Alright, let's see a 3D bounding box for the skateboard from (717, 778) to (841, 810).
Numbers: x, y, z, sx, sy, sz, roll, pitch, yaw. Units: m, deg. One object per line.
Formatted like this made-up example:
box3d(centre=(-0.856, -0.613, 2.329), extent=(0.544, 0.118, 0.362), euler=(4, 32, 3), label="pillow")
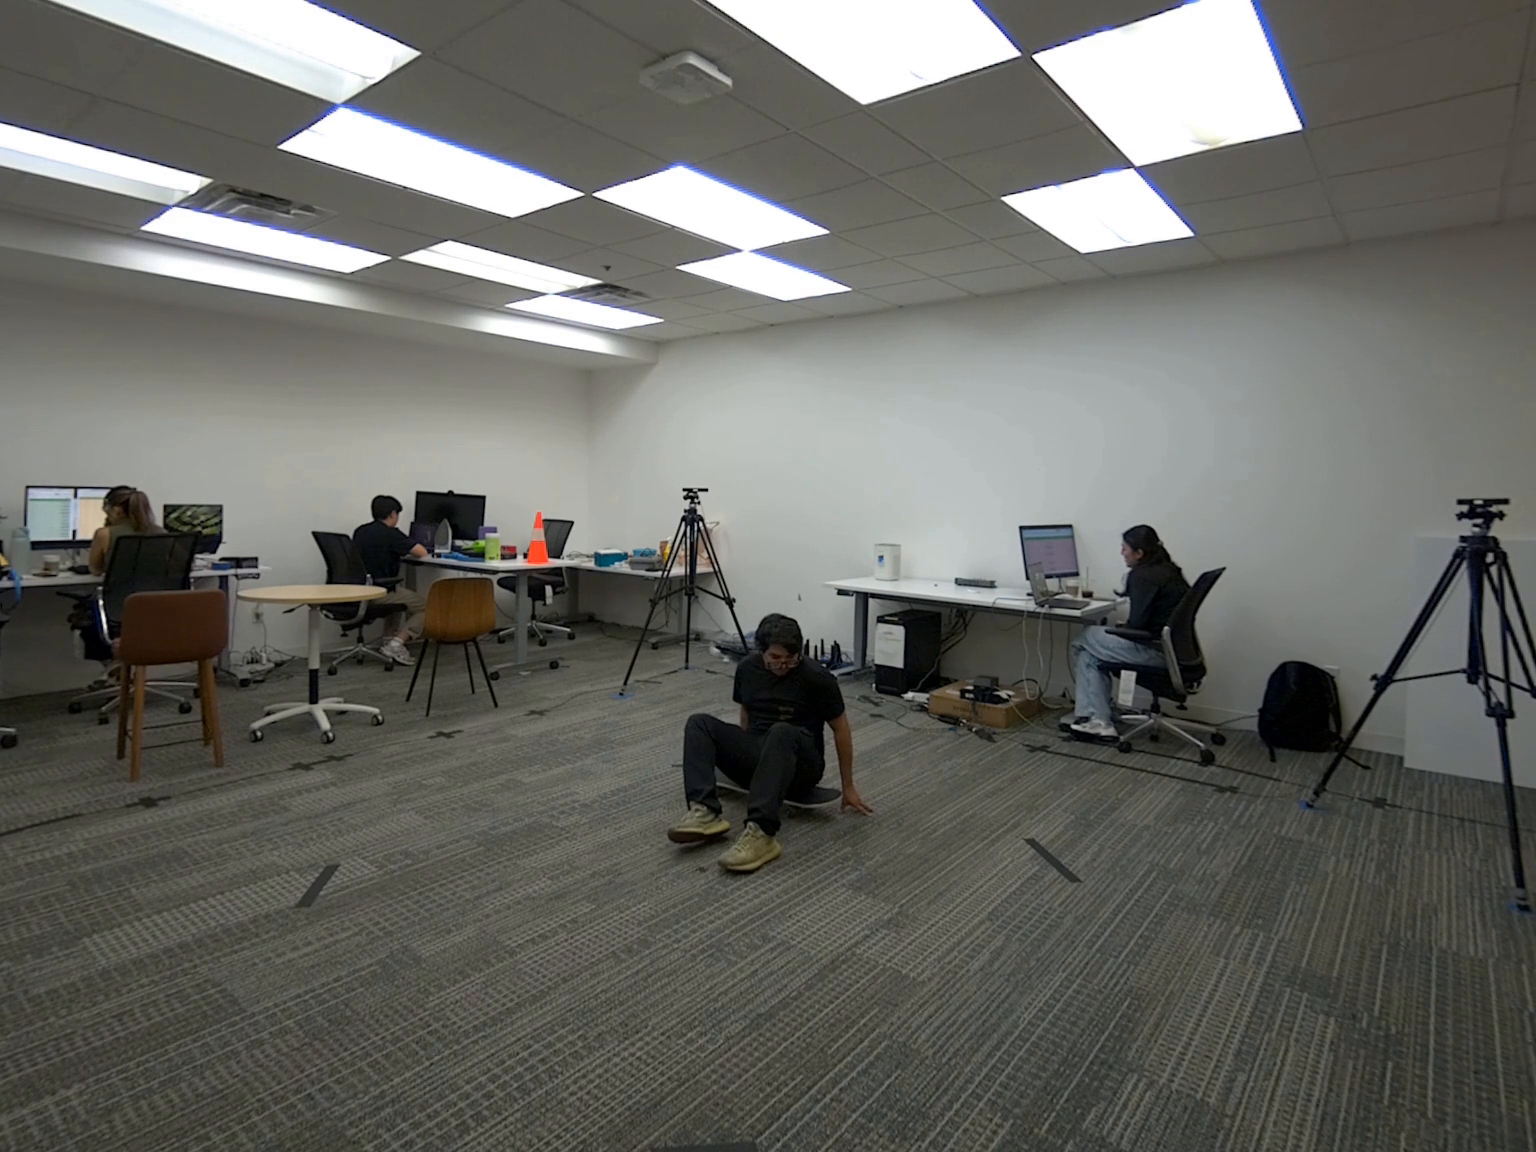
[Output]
box3d(centre=(-0.041, 0.947, 3.808), extent=(0.810, 0.109, 0.189), euler=(5, 12, 34), label="skateboard")
